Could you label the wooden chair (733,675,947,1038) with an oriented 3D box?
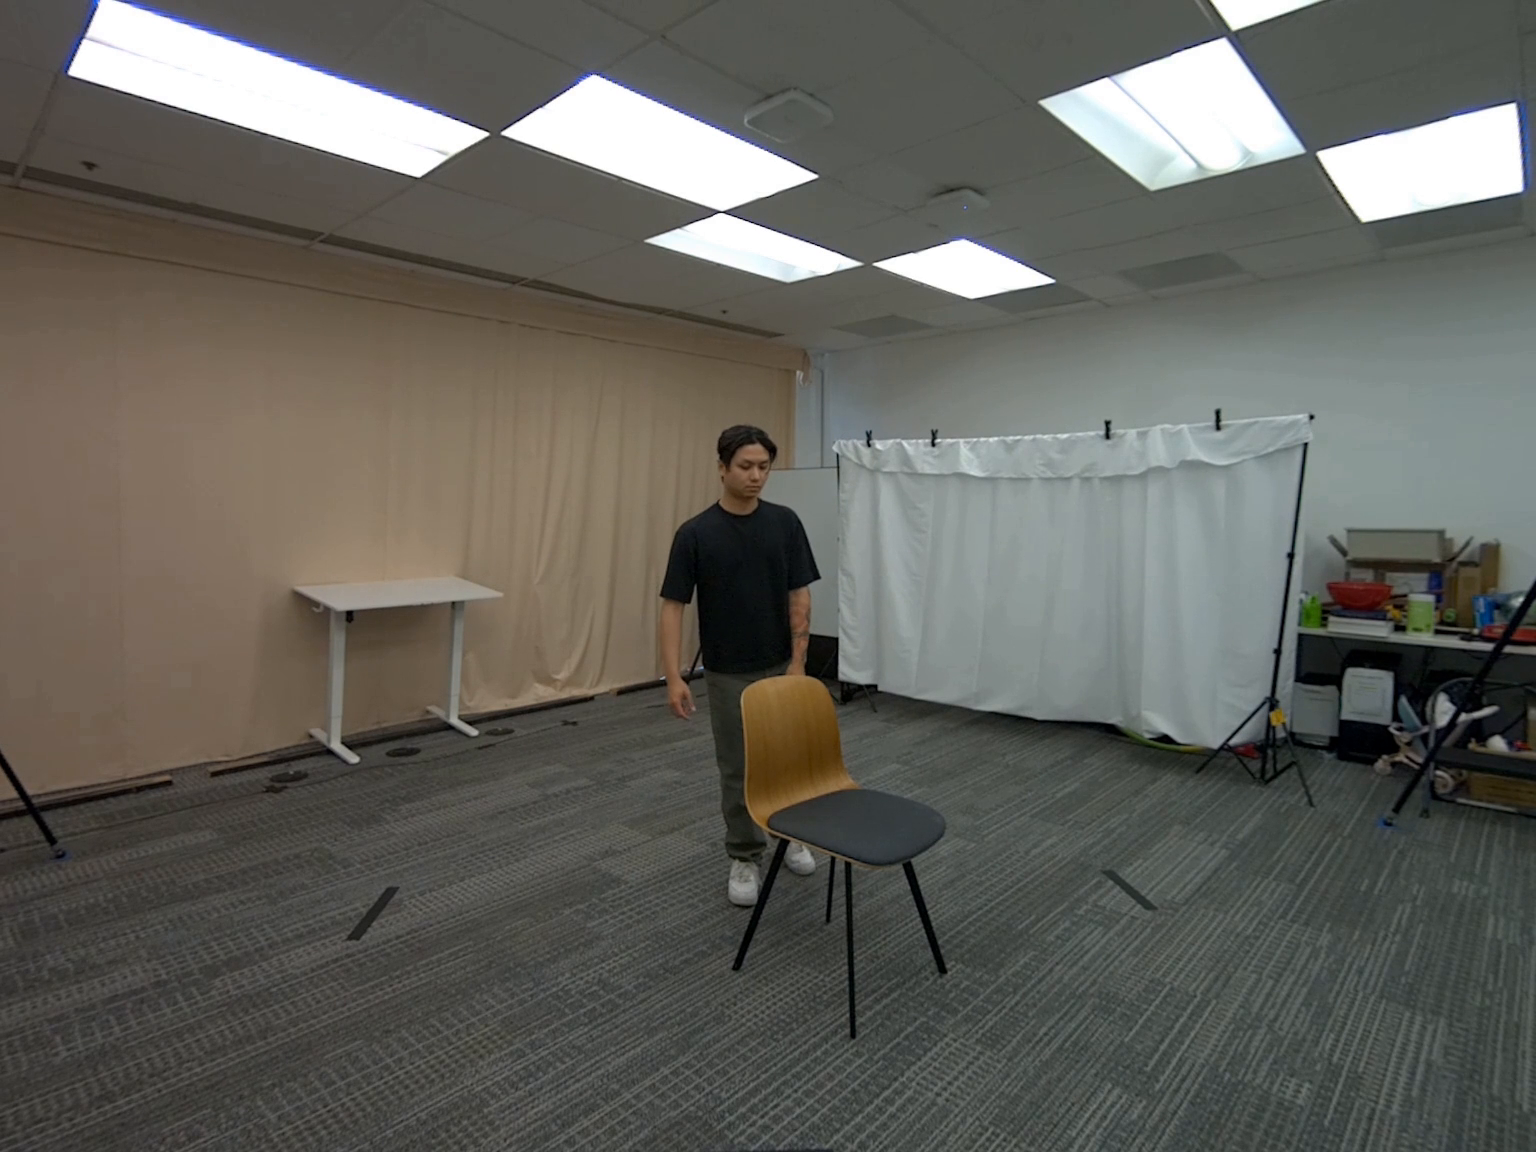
[{"bbox_3d":[0.229,0.758,2.479,0.539,0.877,0.463,-3,0,45],"label":"wooden chair"}]
